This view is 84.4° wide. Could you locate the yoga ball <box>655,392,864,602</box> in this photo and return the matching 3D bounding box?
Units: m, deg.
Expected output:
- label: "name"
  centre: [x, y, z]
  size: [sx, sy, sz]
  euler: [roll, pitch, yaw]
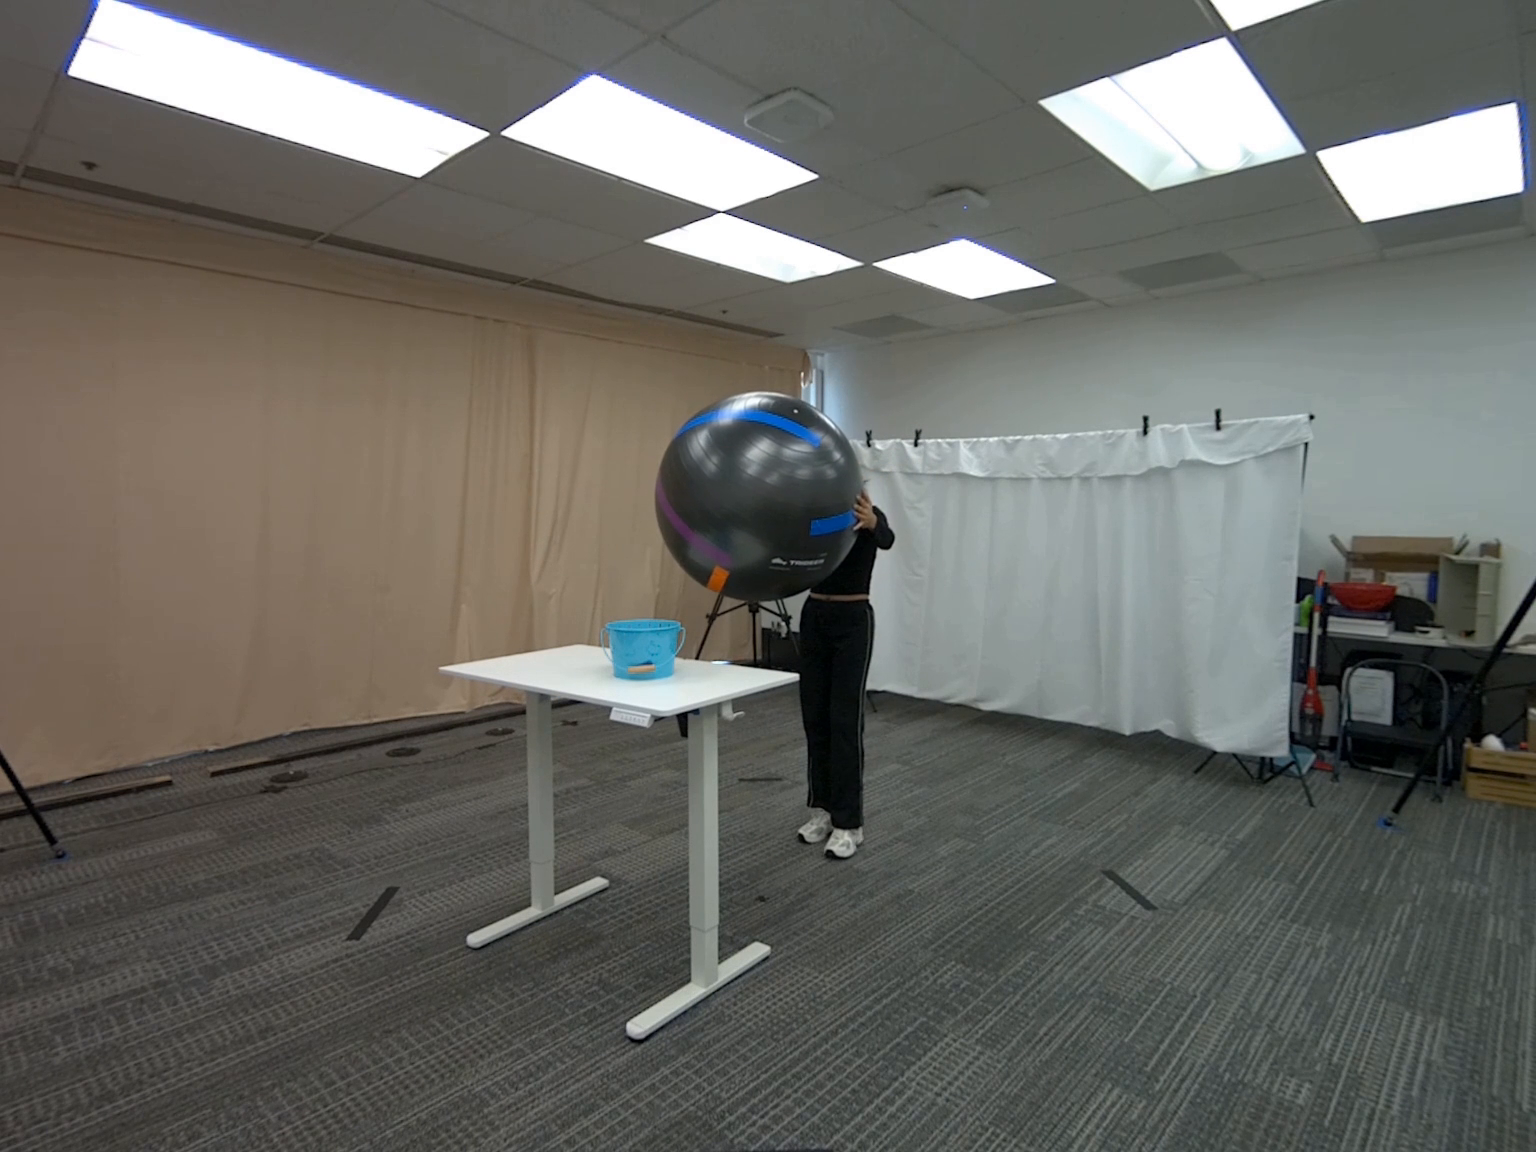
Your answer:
- label: "yoga ball"
  centre: [-0.032, -0.278, 3.051]
  size: [0.757, 0.756, 0.761]
  euler: [0, 4, -2]
